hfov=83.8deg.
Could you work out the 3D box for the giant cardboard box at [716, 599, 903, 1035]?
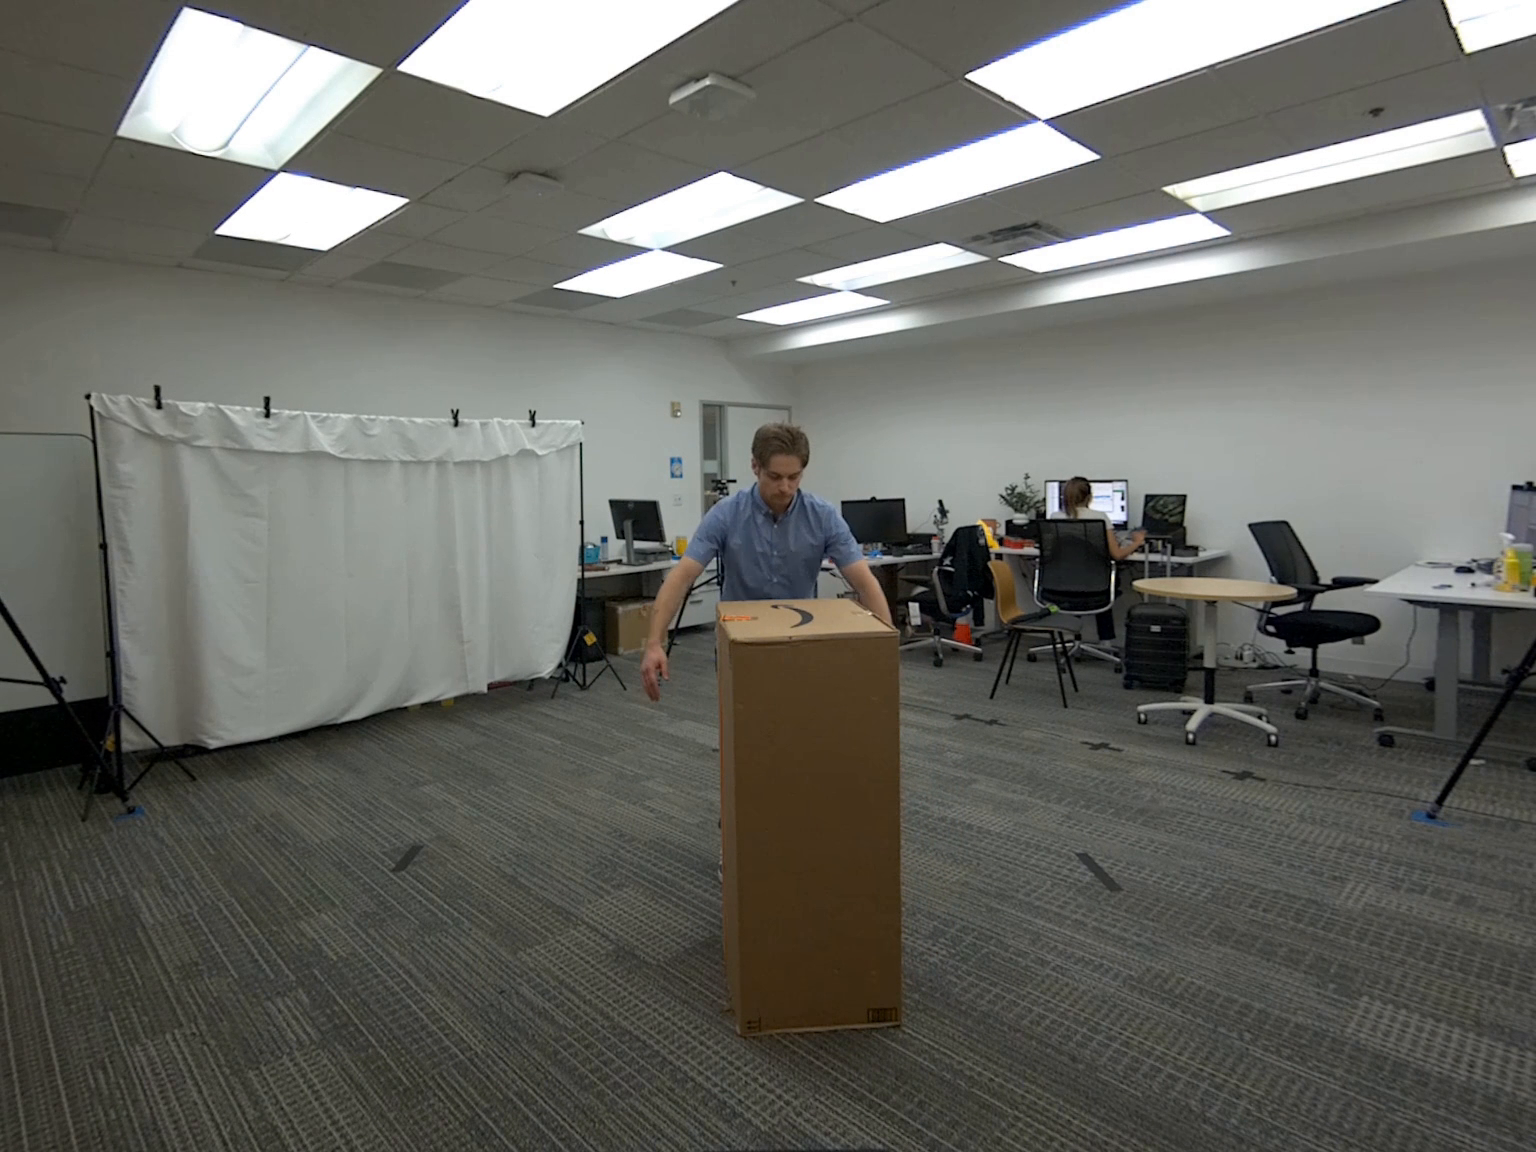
[{"bbox_3d":[0.093,0.619,2.405,0.424,1.022,0.583,-2,5,-6],"label":"giant cardboard box"}]
